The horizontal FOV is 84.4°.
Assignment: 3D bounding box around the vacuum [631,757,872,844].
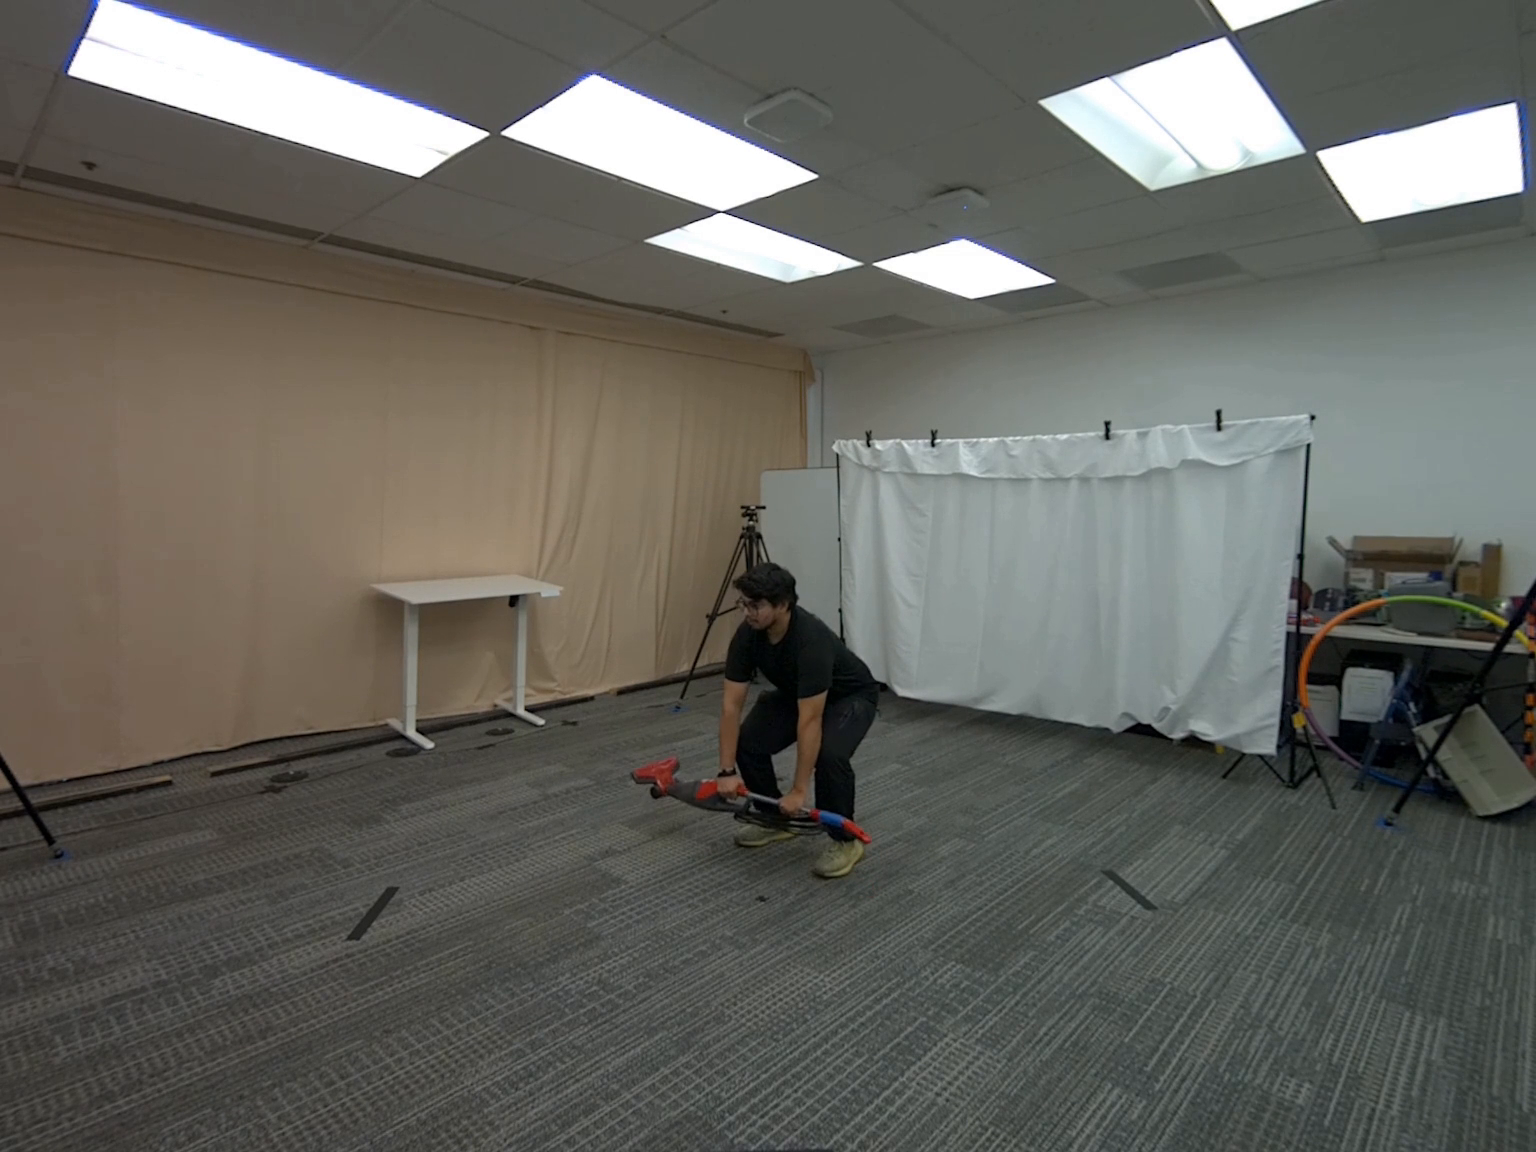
[{"bbox_3d":[-0.072,0.880,3.179,1.084,0.143,0.245,3,7,44],"label":"vacuum"}]
